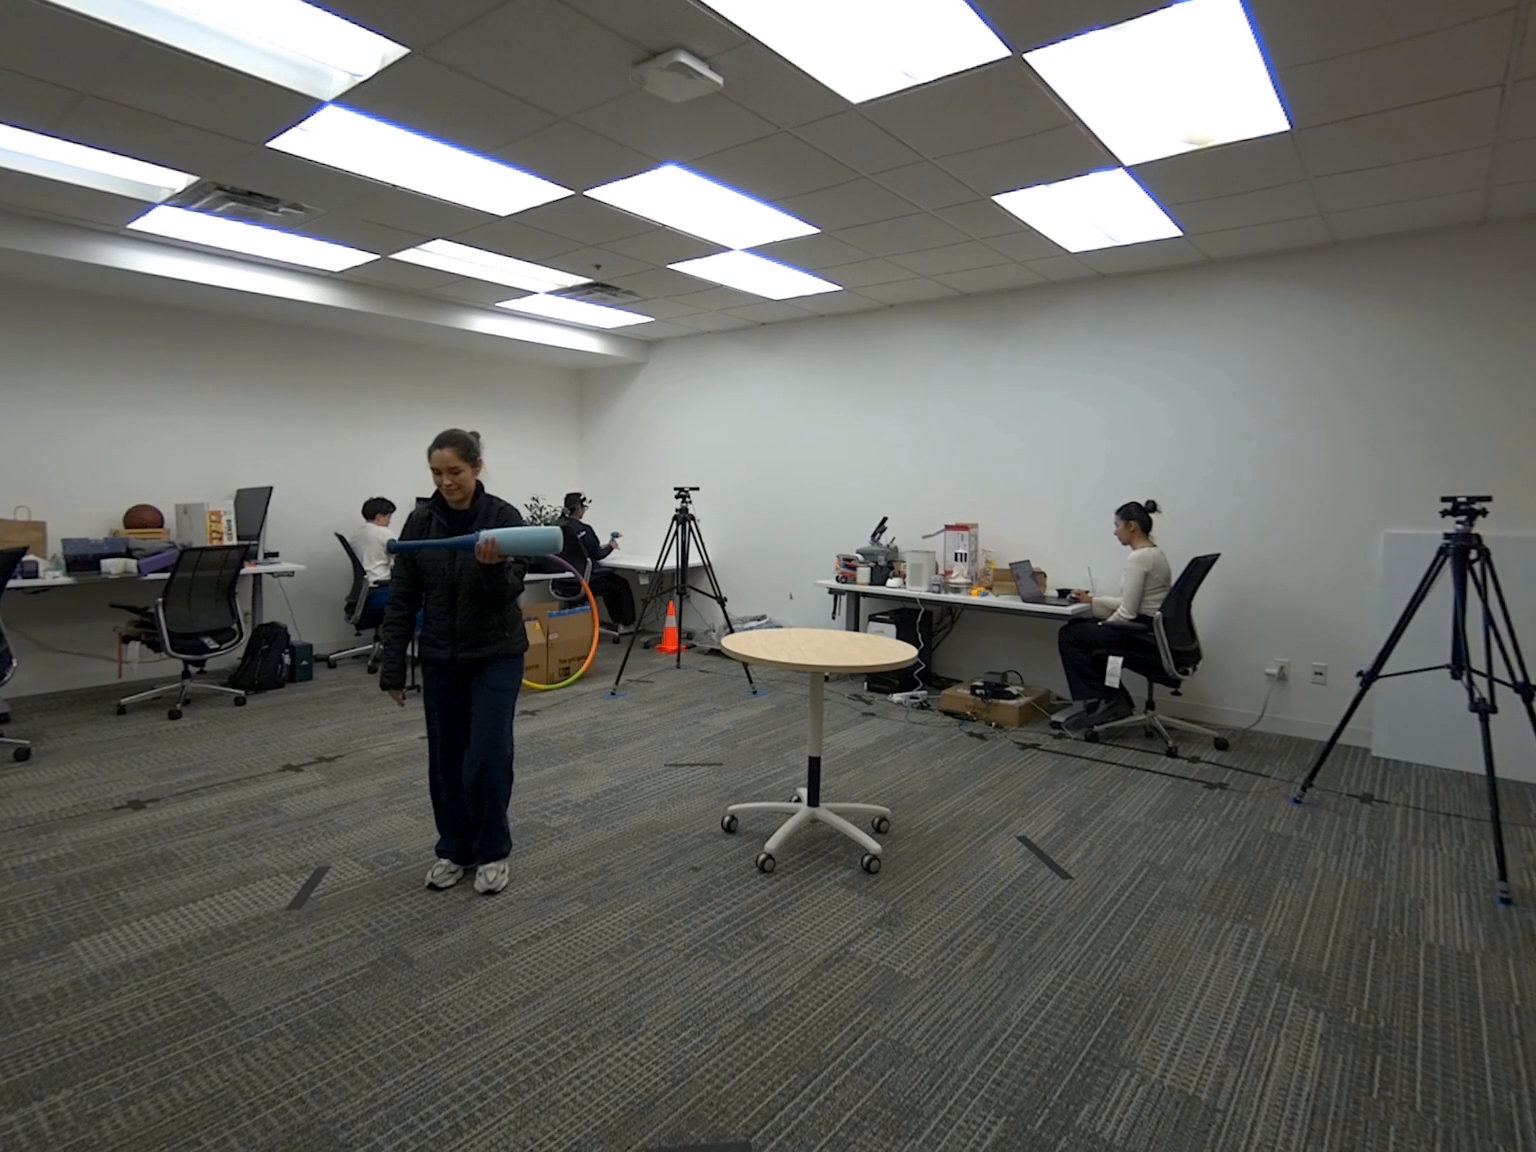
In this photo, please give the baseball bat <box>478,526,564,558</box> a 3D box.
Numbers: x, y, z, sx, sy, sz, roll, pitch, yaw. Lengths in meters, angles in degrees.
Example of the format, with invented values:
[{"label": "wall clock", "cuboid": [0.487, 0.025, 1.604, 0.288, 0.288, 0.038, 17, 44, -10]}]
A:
[{"label": "baseball bat", "cuboid": [-0.914, -0.105, 2.675, 0.544, 0.089, 0.089, -2, 4, 2]}]
